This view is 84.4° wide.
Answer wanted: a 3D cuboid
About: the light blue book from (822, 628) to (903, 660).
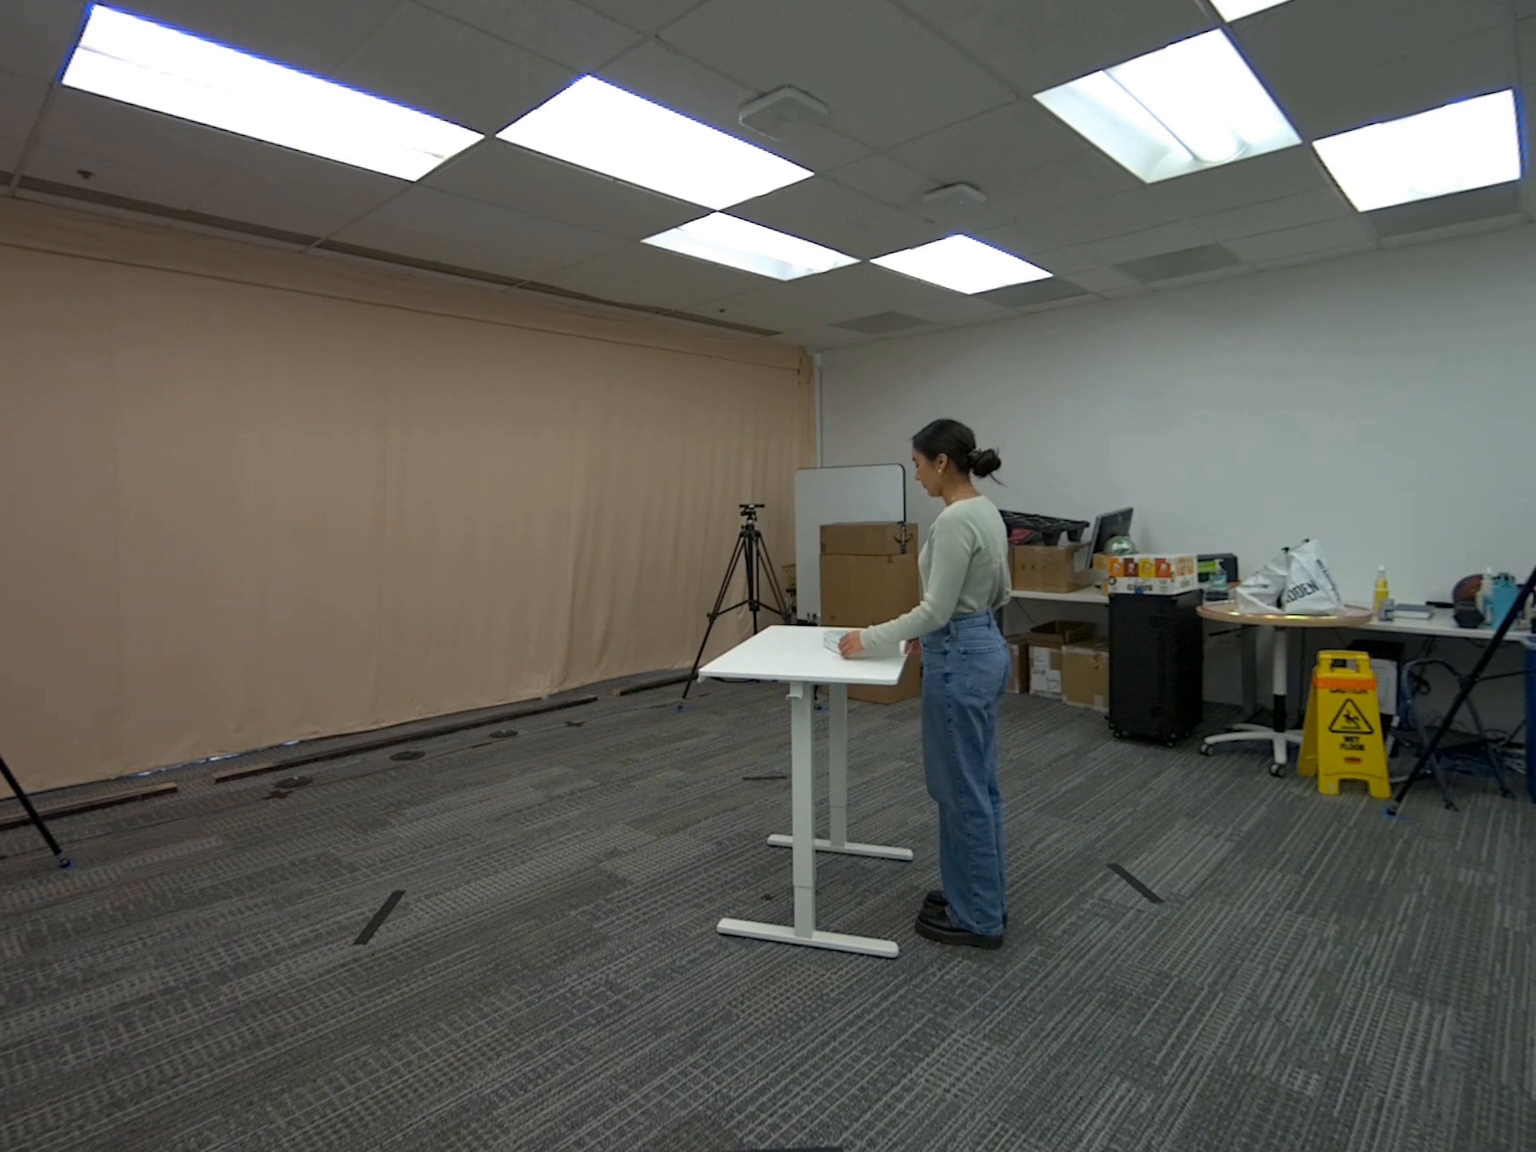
[{"bbox_3d":[0.334,0.234,2.892,0.189,0.059,0.265,-1,5,-13],"label":"light blue book"}]
